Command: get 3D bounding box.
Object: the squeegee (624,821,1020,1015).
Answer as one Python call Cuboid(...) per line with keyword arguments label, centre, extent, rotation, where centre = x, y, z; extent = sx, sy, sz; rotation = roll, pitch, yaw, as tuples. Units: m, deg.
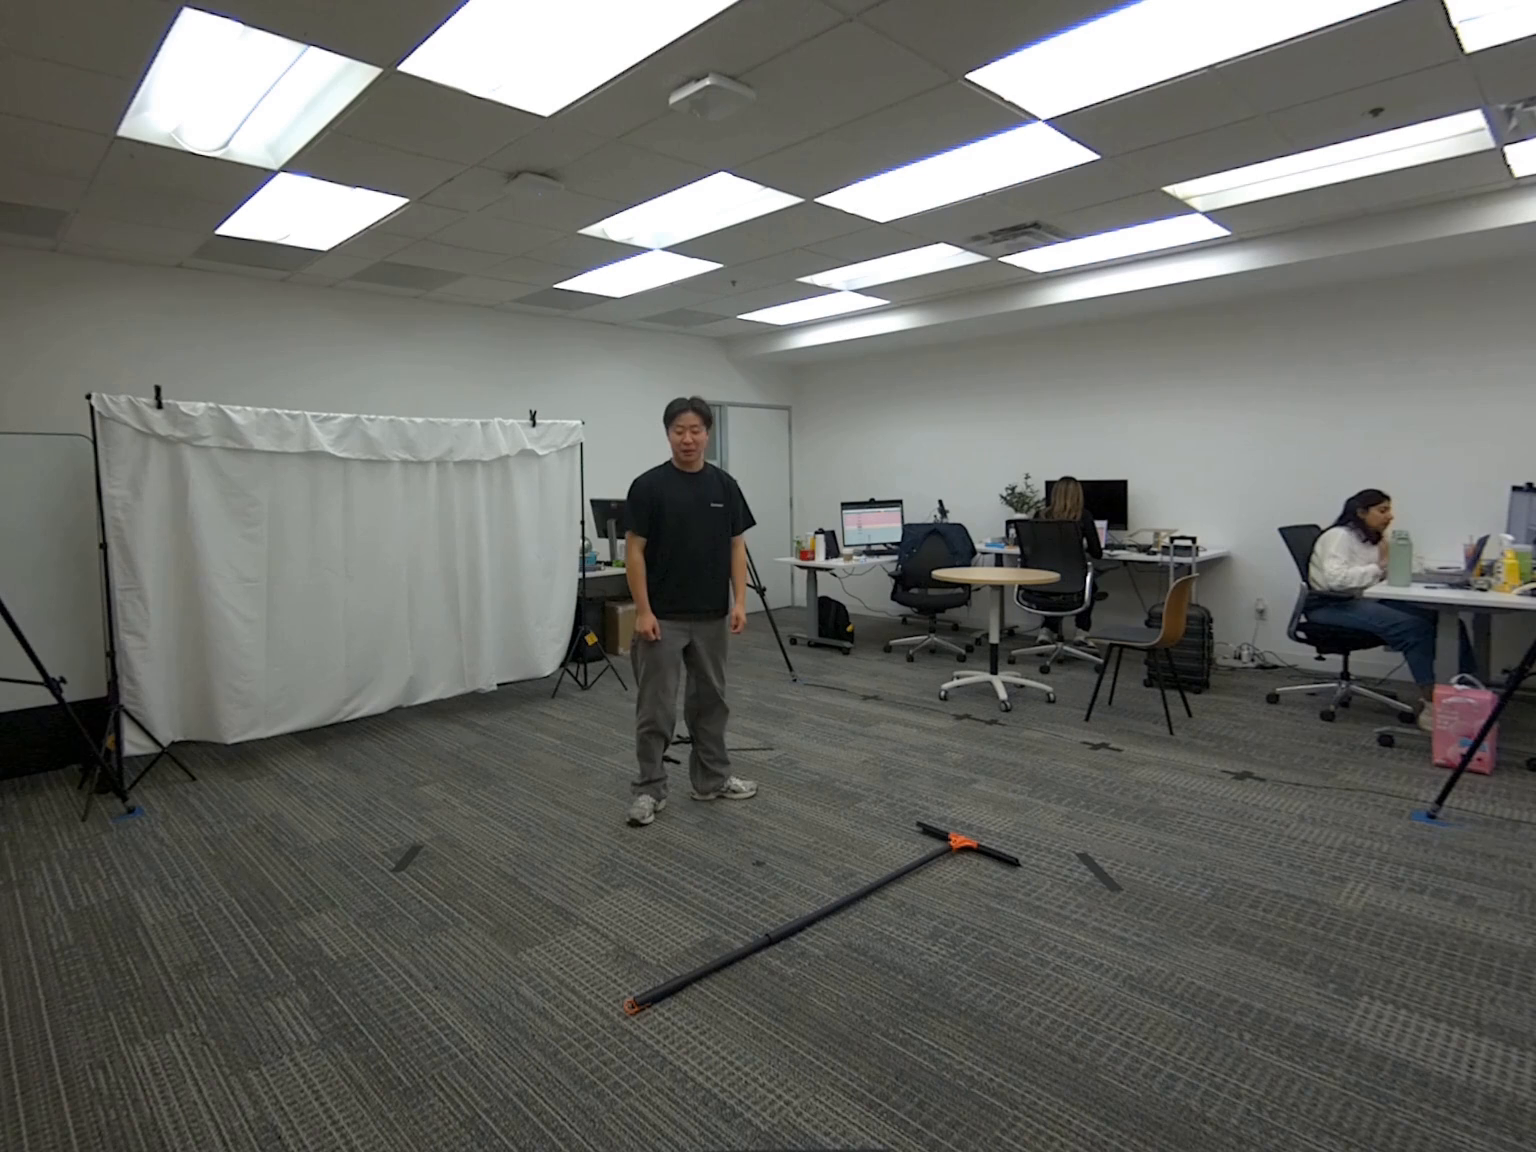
Cuboid(label="squeegee", centre=(0.192, 1.049, 2.741), extent=(1.499, 0.053, 0.451), rotation=(-8, 8, -39))
